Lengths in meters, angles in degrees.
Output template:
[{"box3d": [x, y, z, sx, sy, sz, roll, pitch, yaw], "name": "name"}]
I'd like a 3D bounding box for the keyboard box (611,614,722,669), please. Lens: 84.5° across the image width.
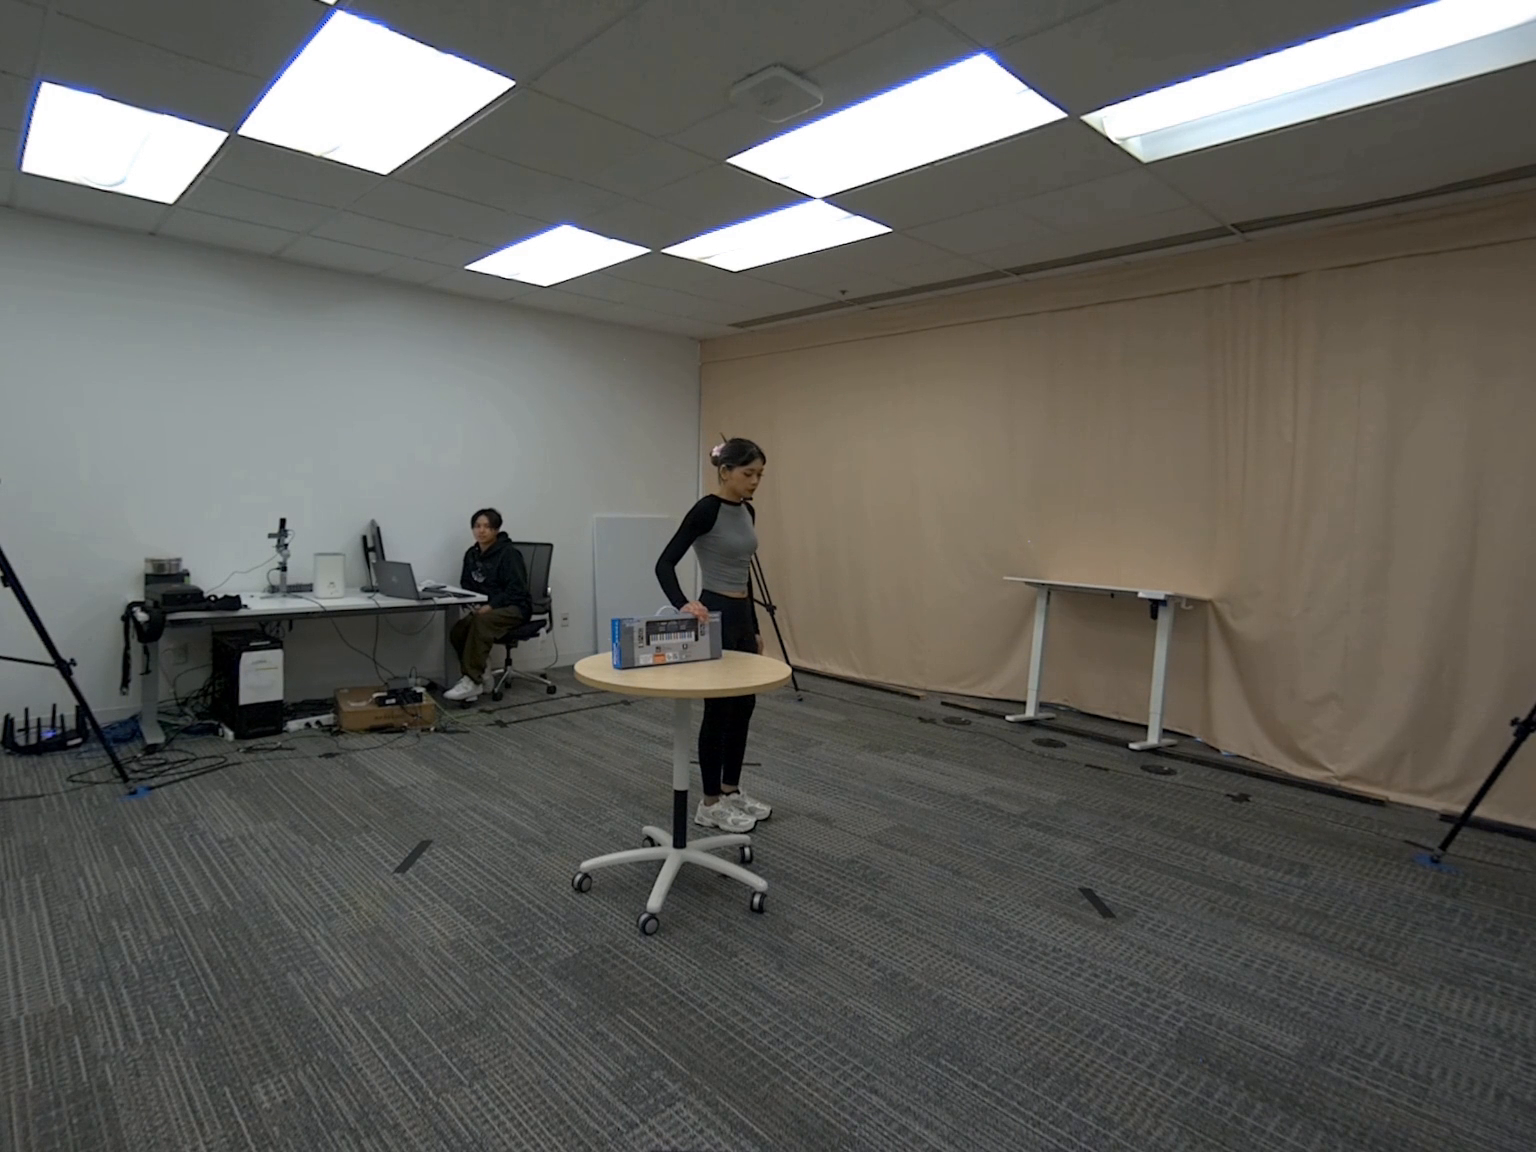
[{"box3d": [-0.364, 0.229, 3.032, 0.427, 0.176, 0.060, -1, -1, -38], "name": "keyboard box"}]
